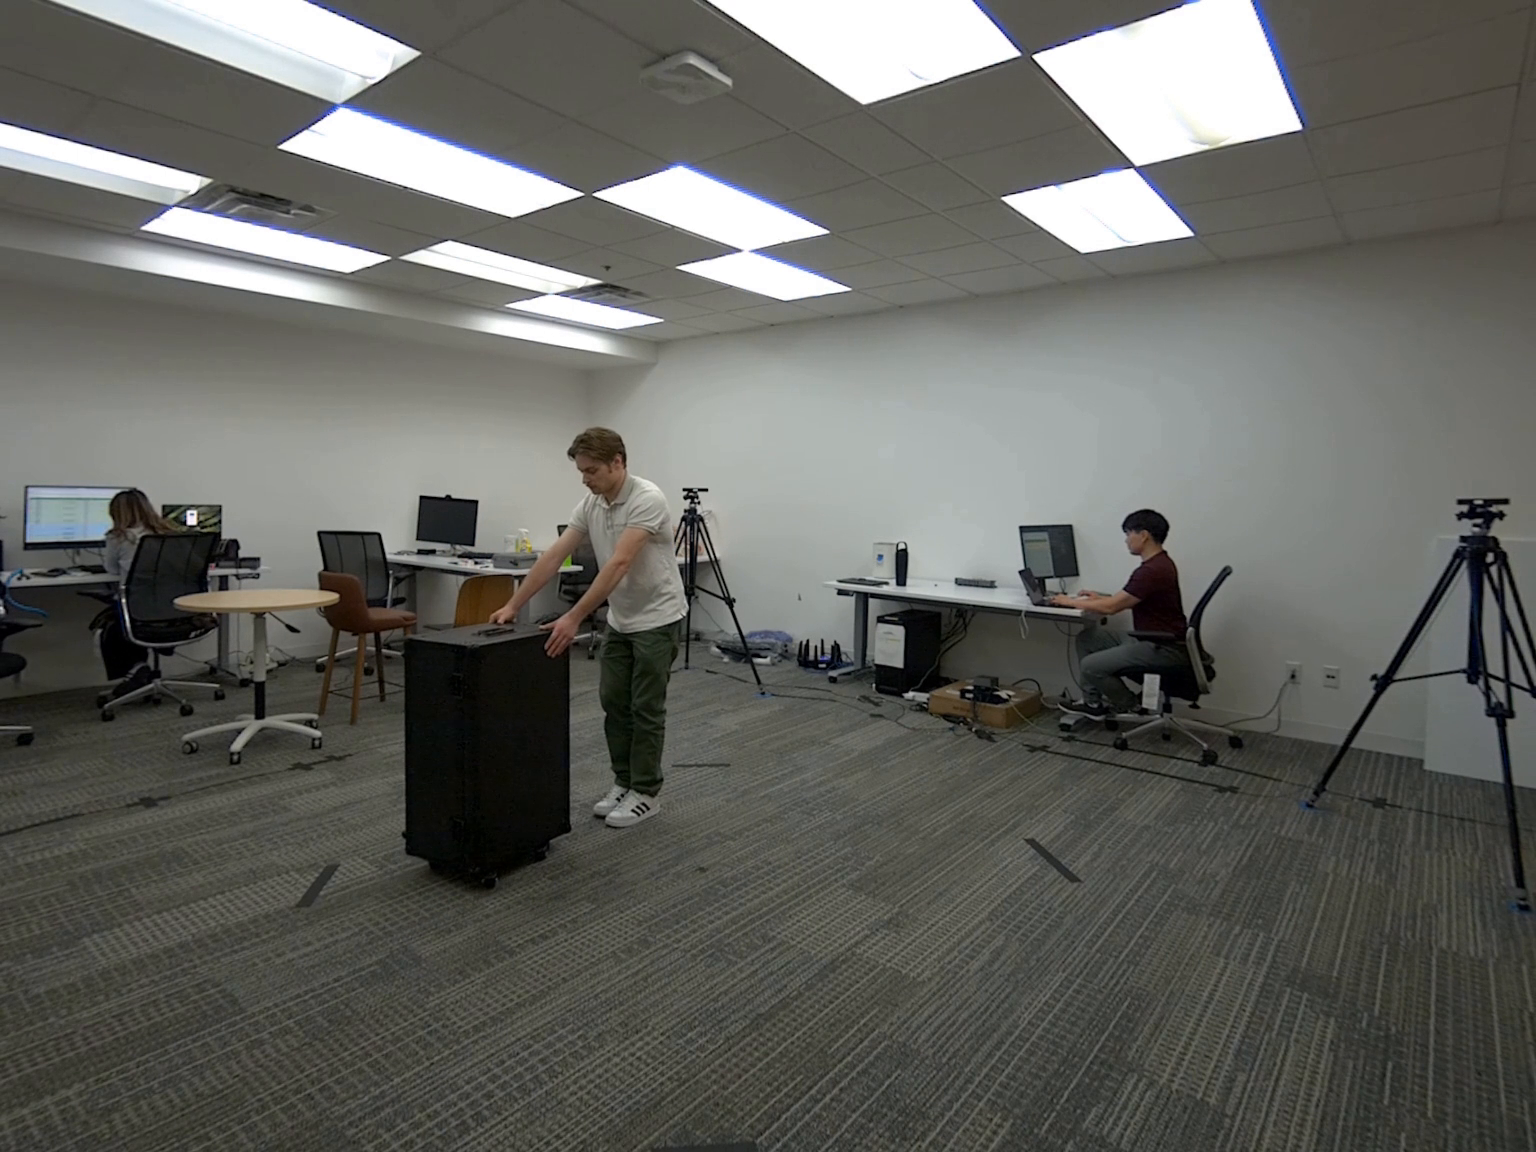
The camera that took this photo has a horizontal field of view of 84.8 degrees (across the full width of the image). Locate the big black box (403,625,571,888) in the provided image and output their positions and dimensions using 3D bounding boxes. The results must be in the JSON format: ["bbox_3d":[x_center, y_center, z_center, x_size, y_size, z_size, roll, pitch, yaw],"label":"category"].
[{"bbox_3d":[-1.044,0.632,3.125,0.396,0.867,0.509,2,3,30],"label":"big black box"}]
